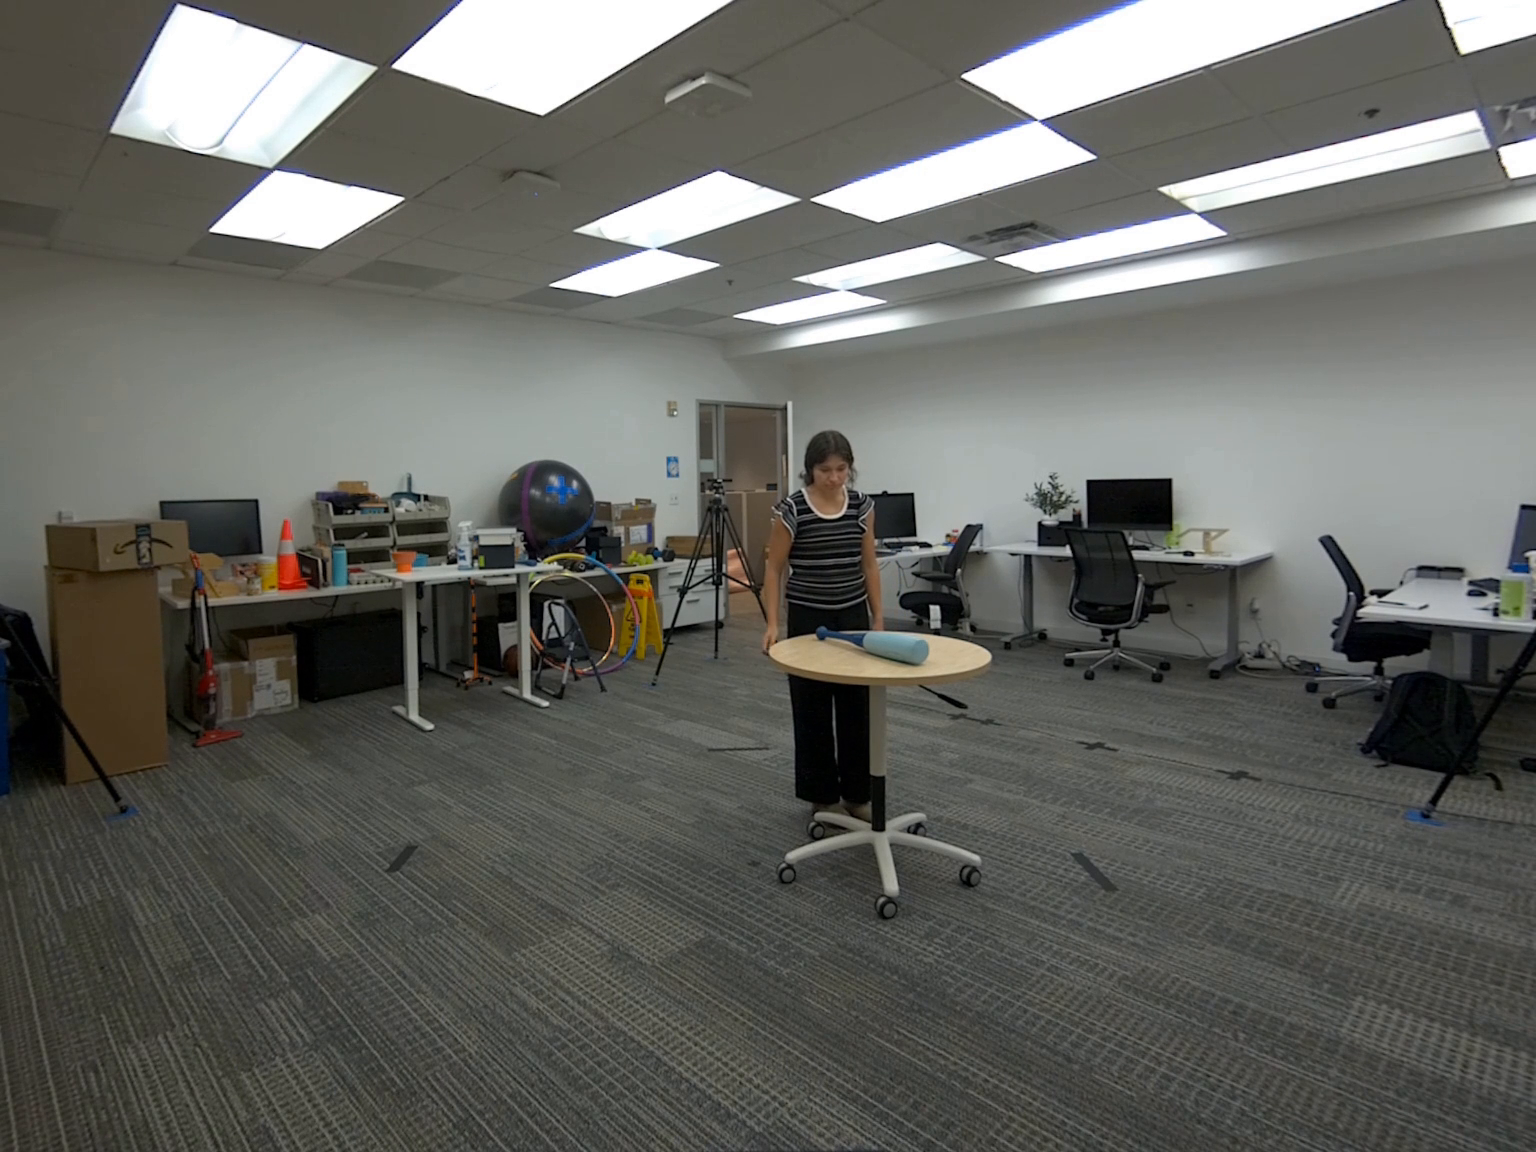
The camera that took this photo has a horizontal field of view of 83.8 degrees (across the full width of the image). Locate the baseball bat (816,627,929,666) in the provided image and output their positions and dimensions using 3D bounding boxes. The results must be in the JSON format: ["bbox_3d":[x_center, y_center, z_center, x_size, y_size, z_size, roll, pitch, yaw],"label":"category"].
[{"bbox_3d":[0.346,0.234,2.999,0.087,0.089,0.557,-4,5,-32],"label":"baseball bat"}]
